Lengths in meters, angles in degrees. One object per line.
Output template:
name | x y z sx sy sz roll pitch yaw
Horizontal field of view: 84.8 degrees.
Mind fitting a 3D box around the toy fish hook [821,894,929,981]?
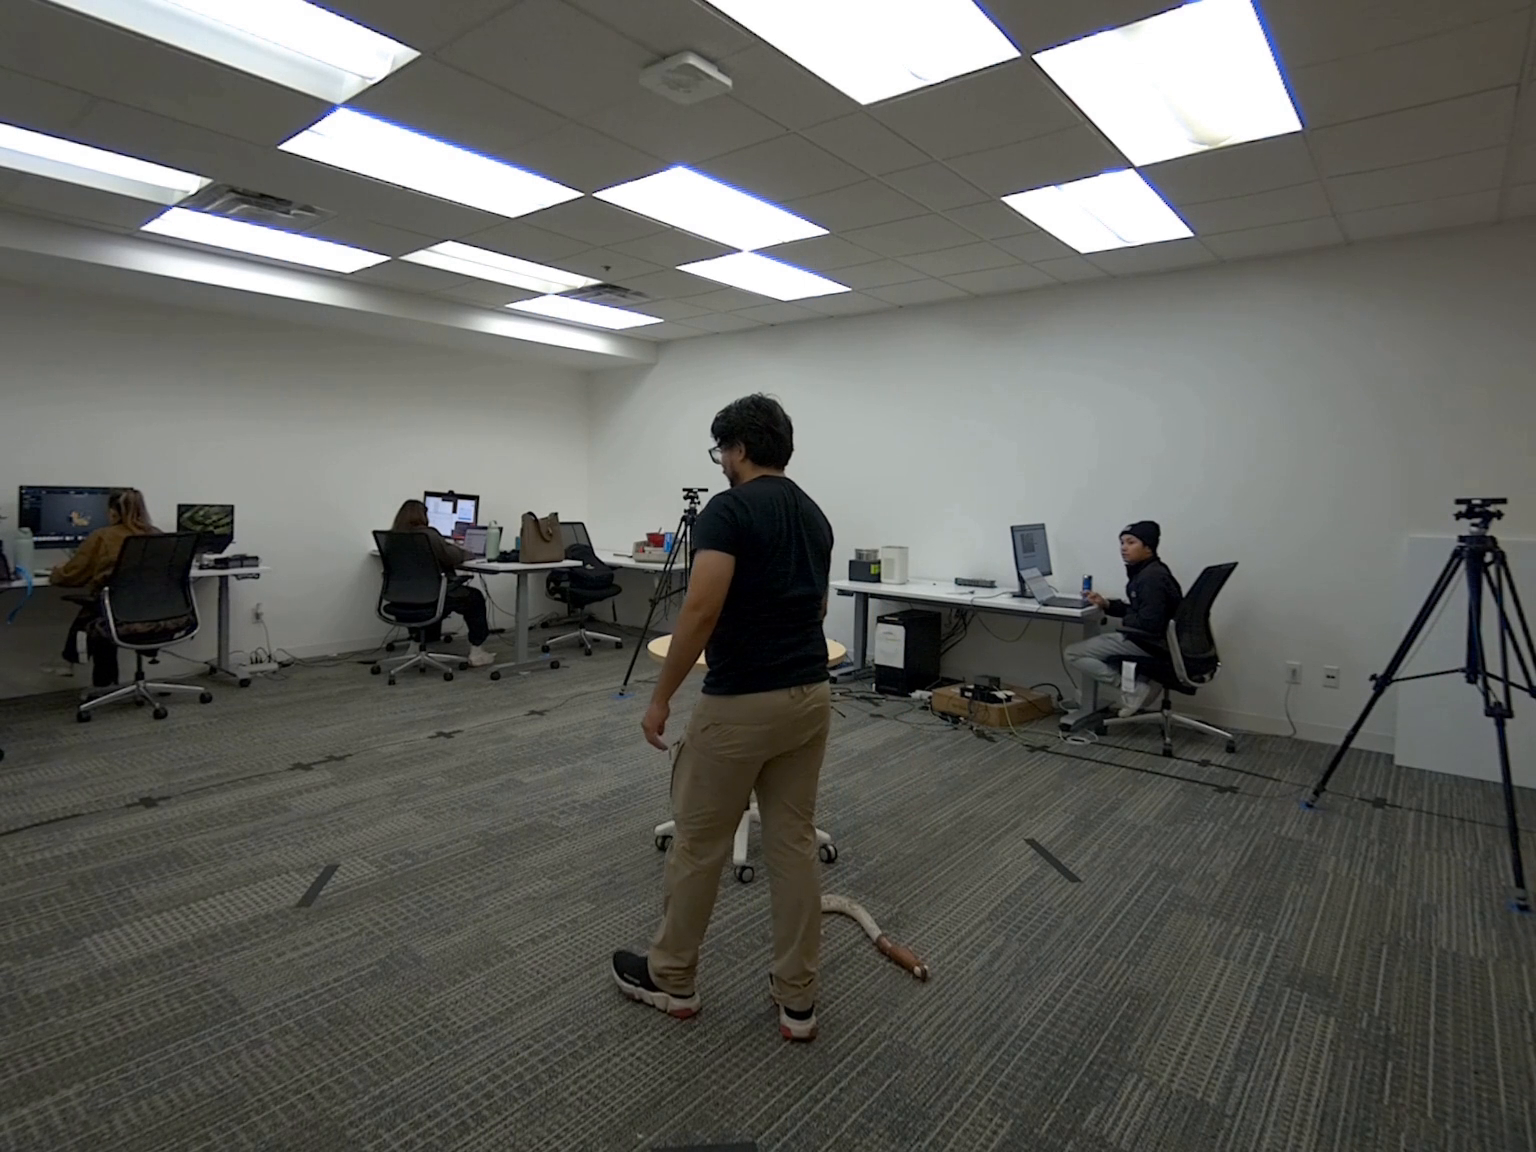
toy fish hook | 0.273 1.112 2.622 0.219 0.048 0.522 -9 10 -29
